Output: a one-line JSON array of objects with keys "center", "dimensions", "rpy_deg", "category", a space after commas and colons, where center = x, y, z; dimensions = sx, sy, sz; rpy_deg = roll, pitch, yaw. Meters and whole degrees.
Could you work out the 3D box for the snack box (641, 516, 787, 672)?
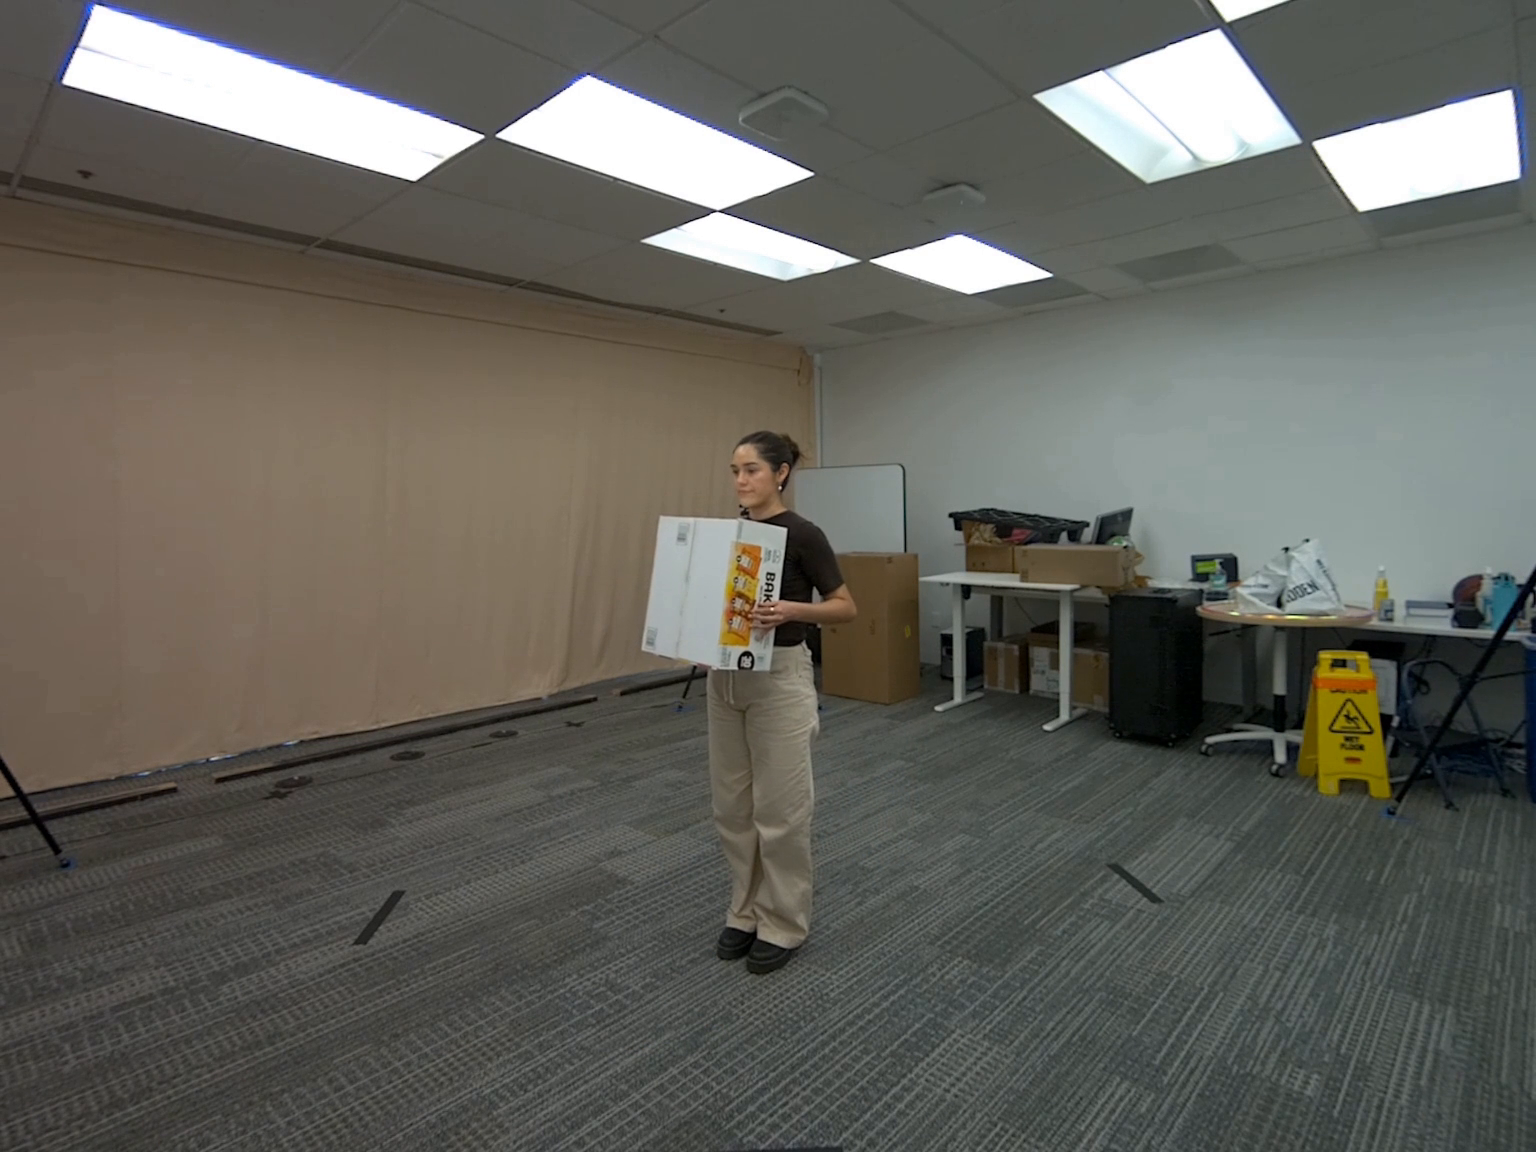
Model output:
[{"center": [-0.153, 0.045, 2.429], "dimensions": [0.199, 0.405, 0.352], "rpy_deg": [9, -3, -44], "category": "snack box"}]
